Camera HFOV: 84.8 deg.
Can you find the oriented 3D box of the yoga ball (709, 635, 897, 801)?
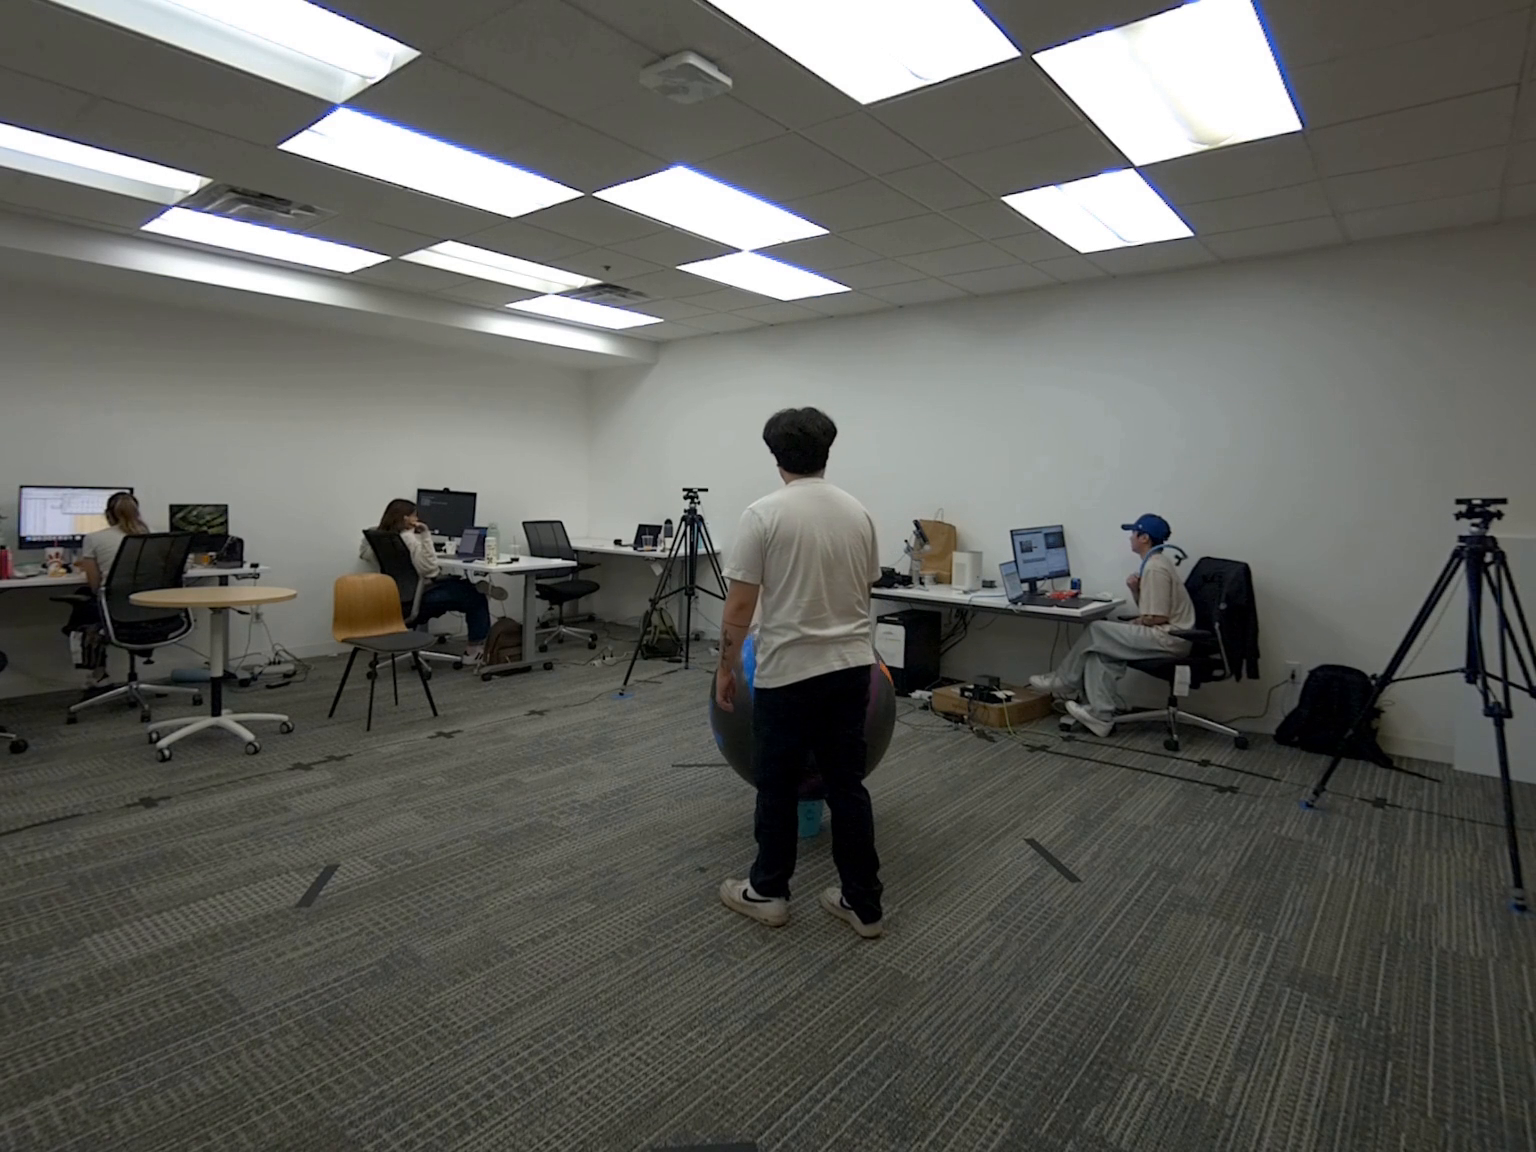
[{"bbox_3d":[0.128,0.527,3.485,0.757,0.755,0.762,1,4,-2],"label":"yoga ball"}]
